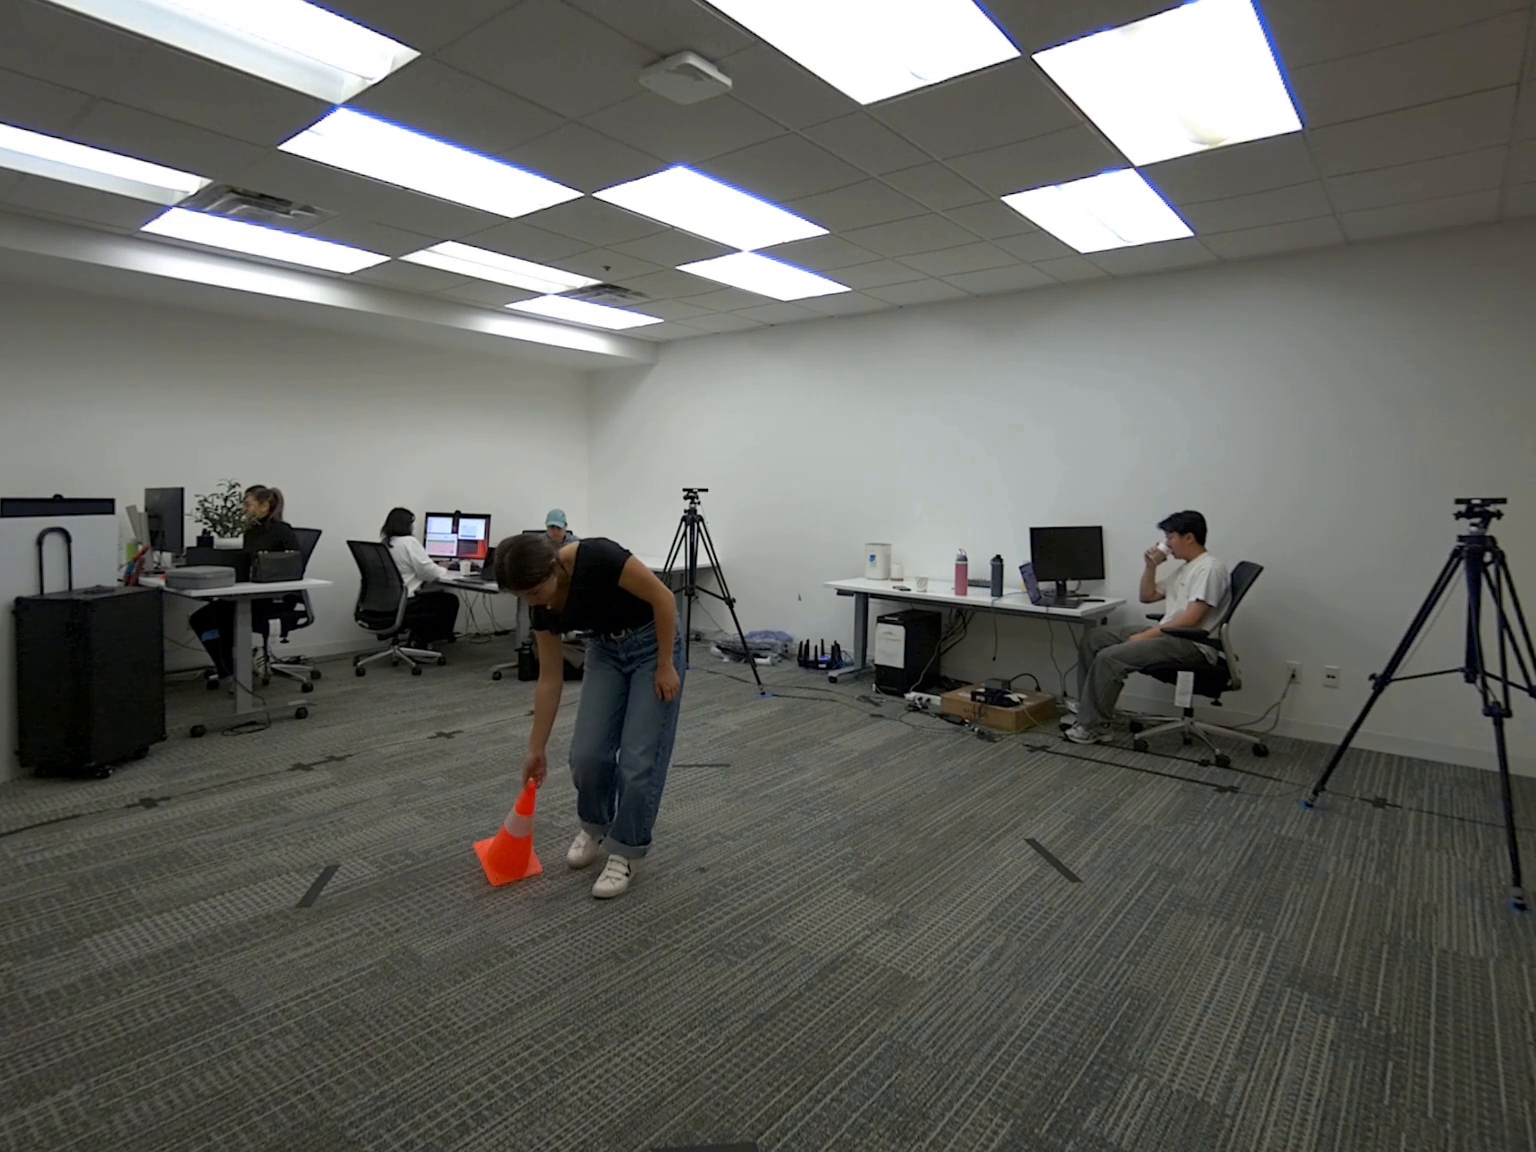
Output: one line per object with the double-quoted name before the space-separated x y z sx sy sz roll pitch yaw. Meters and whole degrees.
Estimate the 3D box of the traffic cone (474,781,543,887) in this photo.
"traffic cone" -0.878 0.858 2.999 0.197 0.379 0.214 5 31 -34
